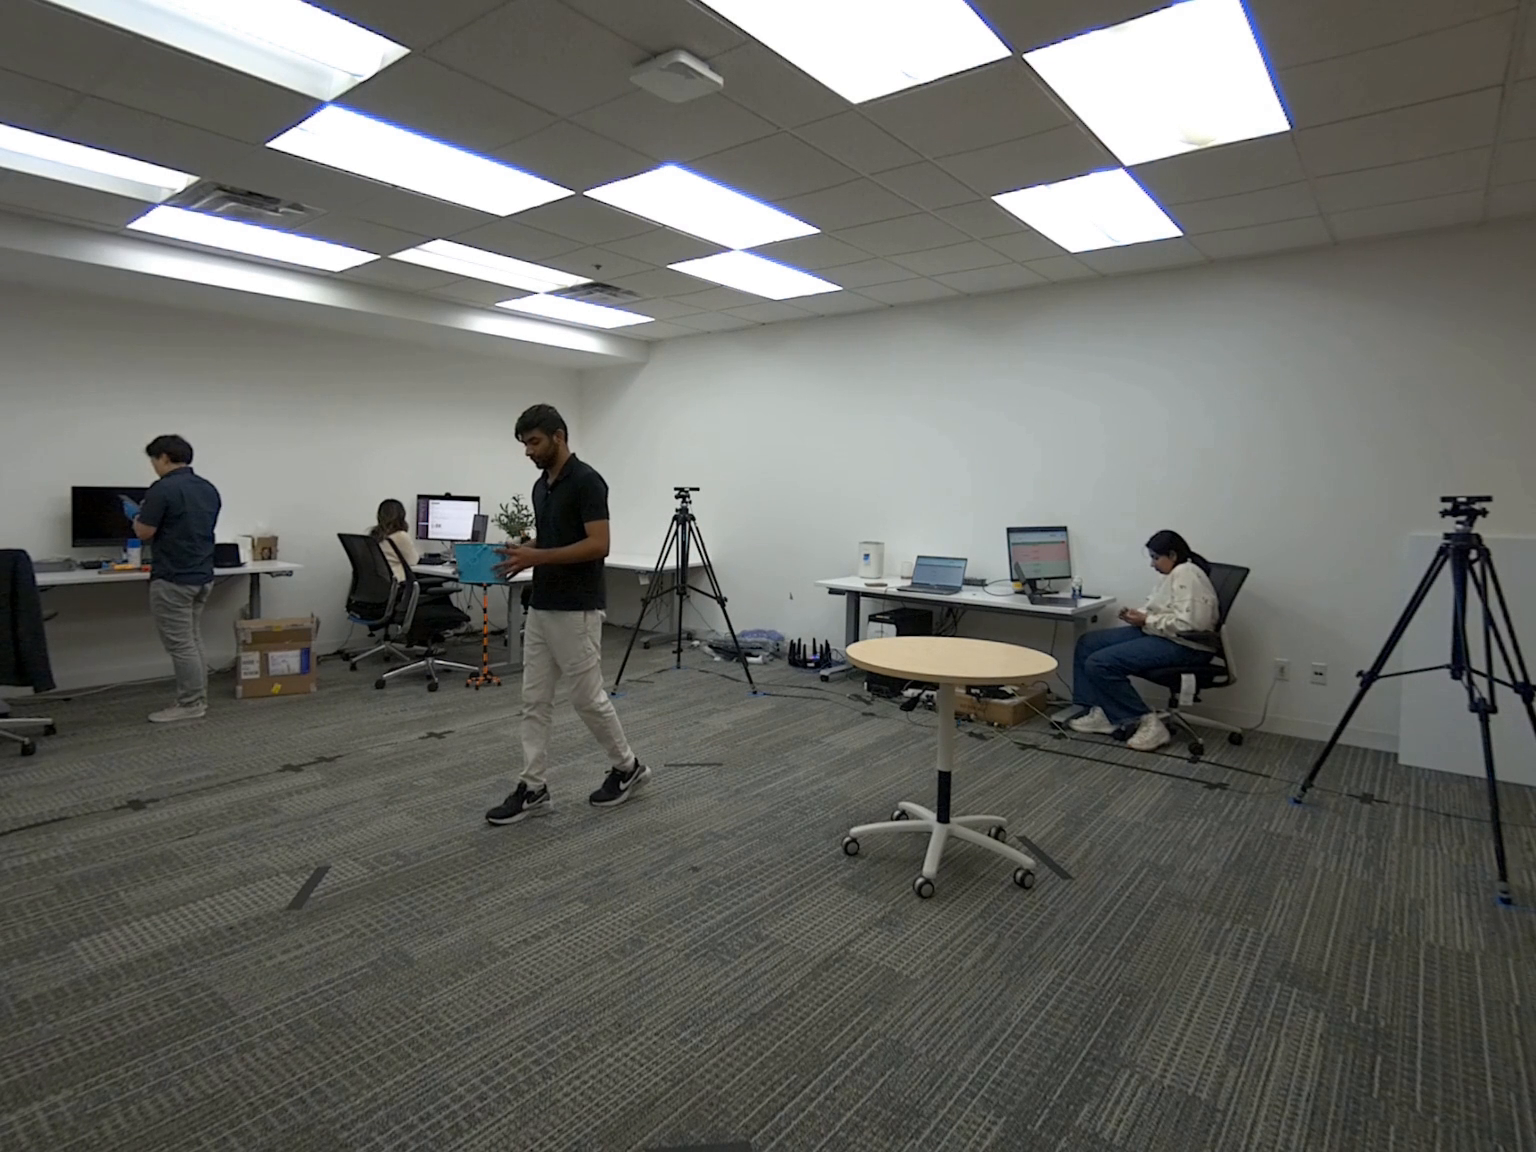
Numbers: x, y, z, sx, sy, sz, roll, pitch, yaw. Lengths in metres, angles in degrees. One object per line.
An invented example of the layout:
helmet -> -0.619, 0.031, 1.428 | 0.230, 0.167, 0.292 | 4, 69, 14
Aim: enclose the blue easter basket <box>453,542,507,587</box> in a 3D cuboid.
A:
blue easter basket -> -1.156, -0.054, 3.391 | 0.243, 0.156, 0.243 | 2, -1, -2
